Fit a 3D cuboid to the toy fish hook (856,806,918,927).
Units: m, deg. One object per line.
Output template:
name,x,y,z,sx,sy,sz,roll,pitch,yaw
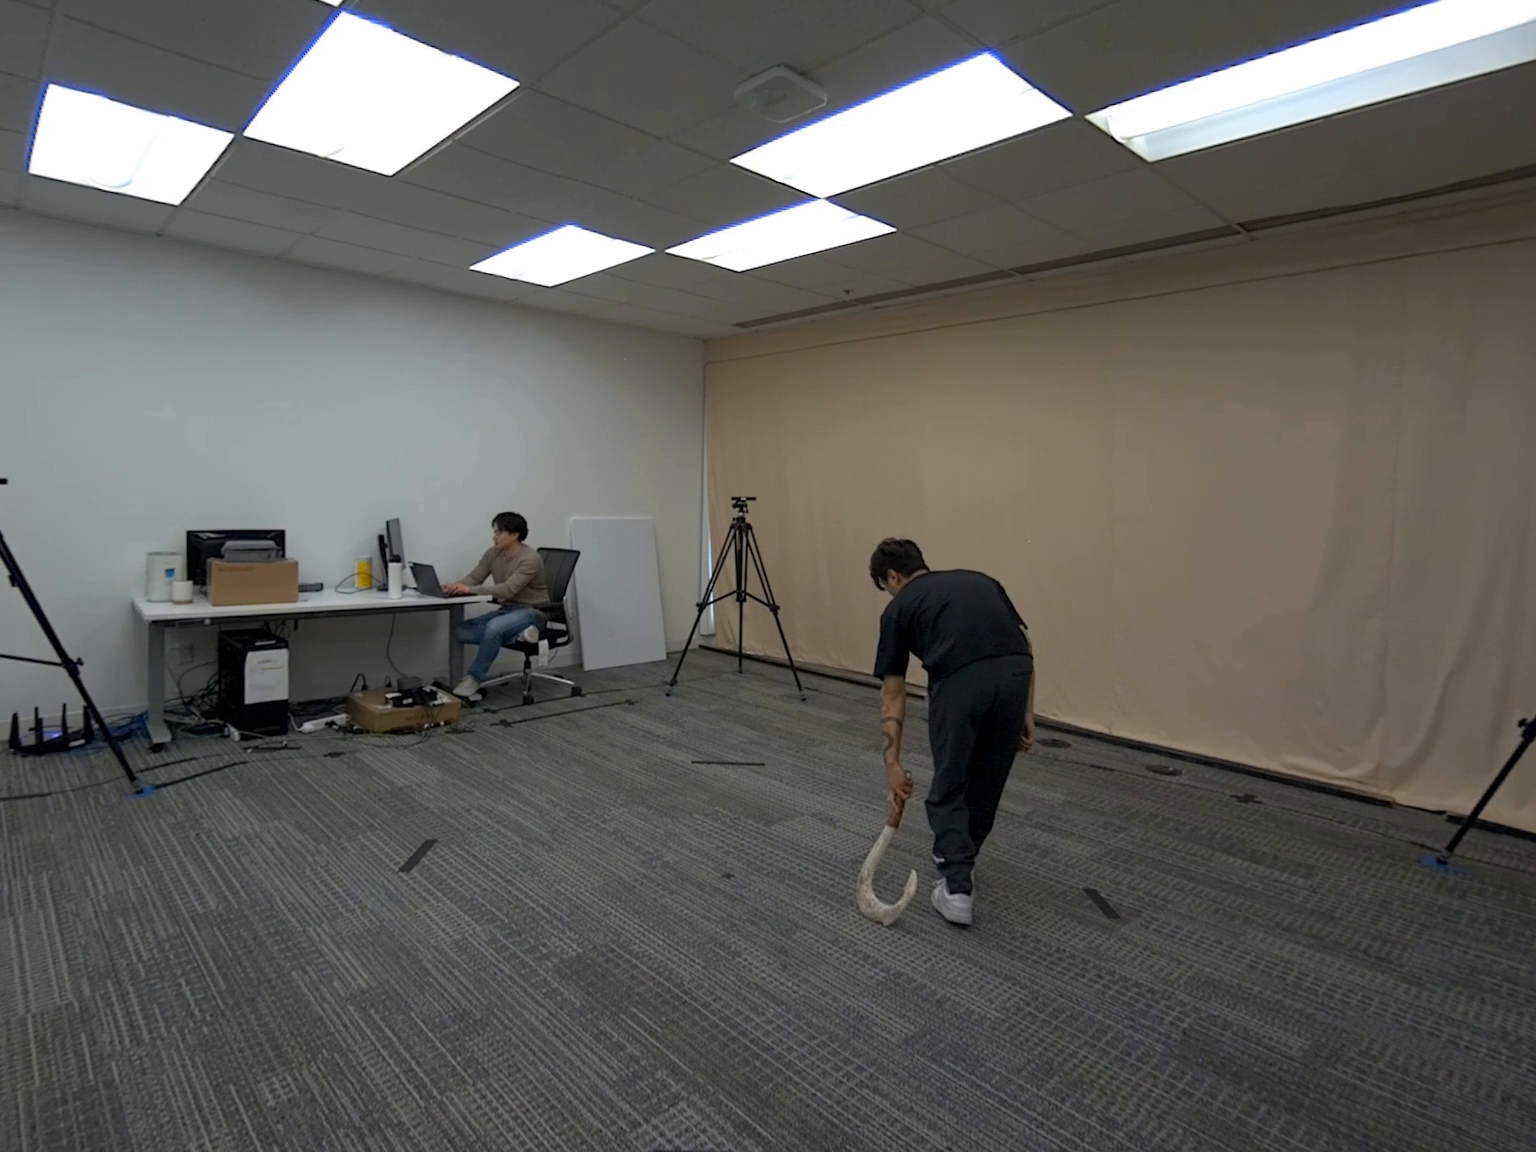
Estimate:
toy fish hook,0.440,0.920,2.858,0.230,0.510,0.047,4,-23,46
